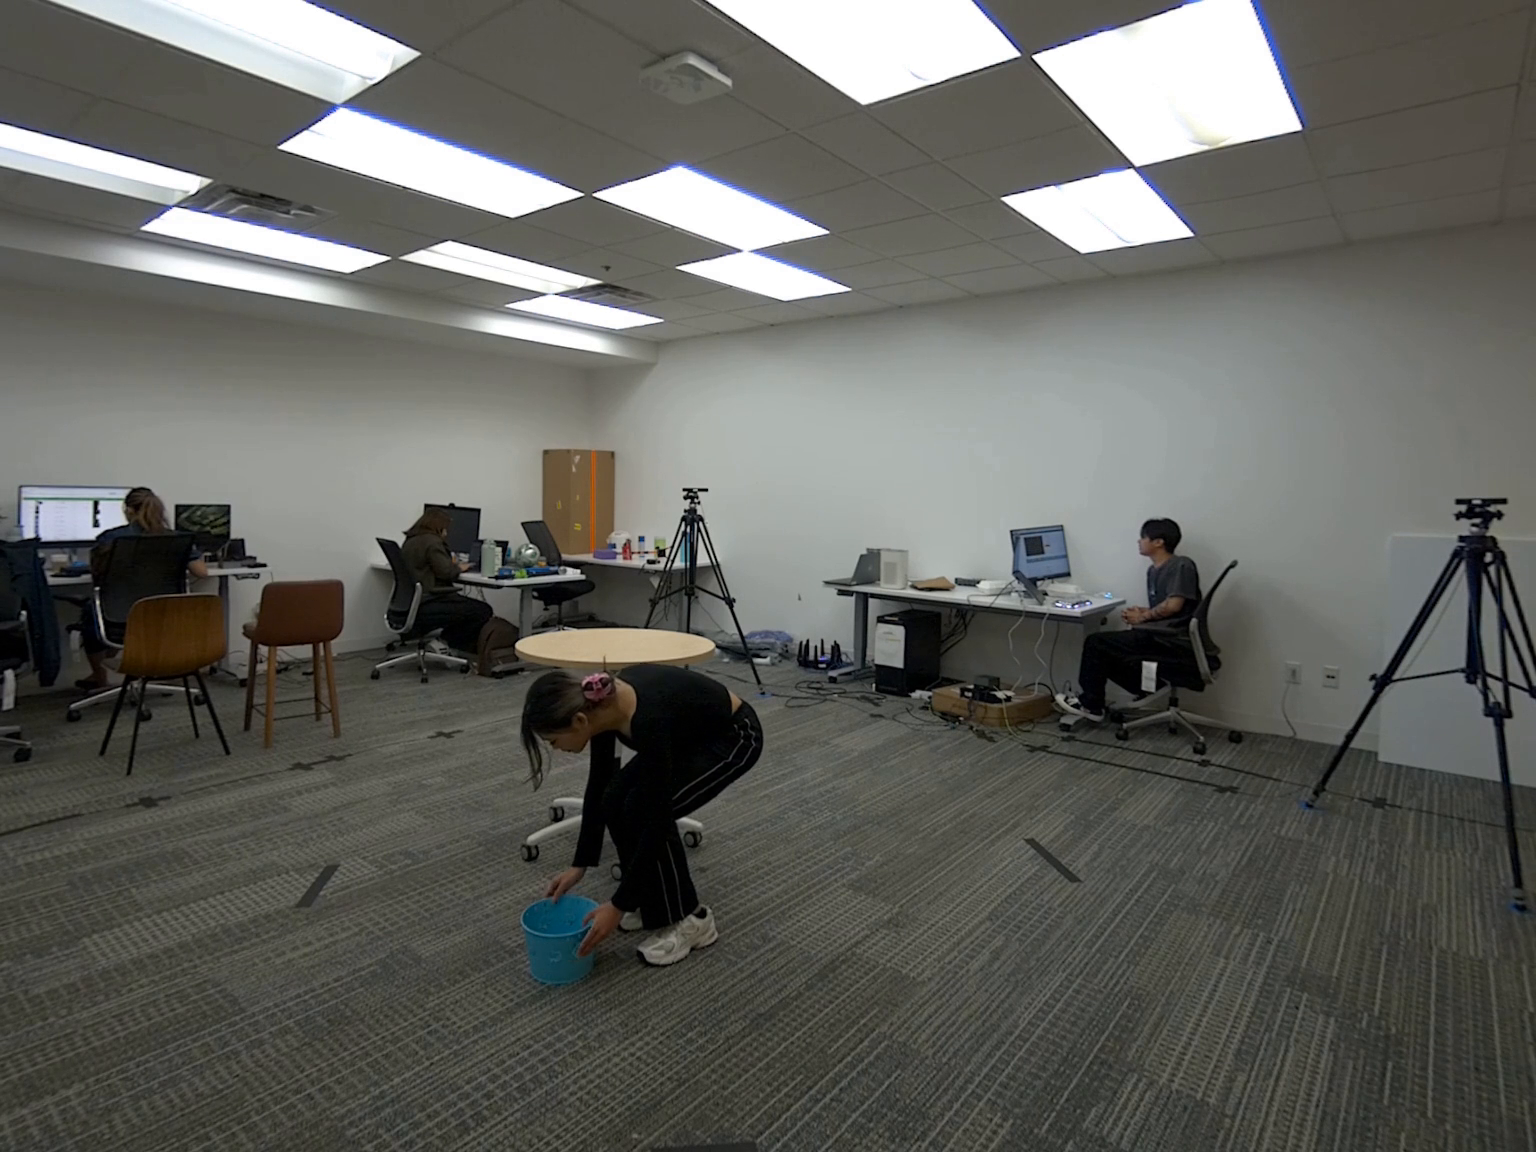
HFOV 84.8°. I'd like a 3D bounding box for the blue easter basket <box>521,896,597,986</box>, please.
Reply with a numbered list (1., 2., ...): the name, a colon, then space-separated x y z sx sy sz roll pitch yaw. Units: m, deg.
1. blue easter basket: -0.592 1.048 2.461 0.243 0.155 0.245 1 5 -2
